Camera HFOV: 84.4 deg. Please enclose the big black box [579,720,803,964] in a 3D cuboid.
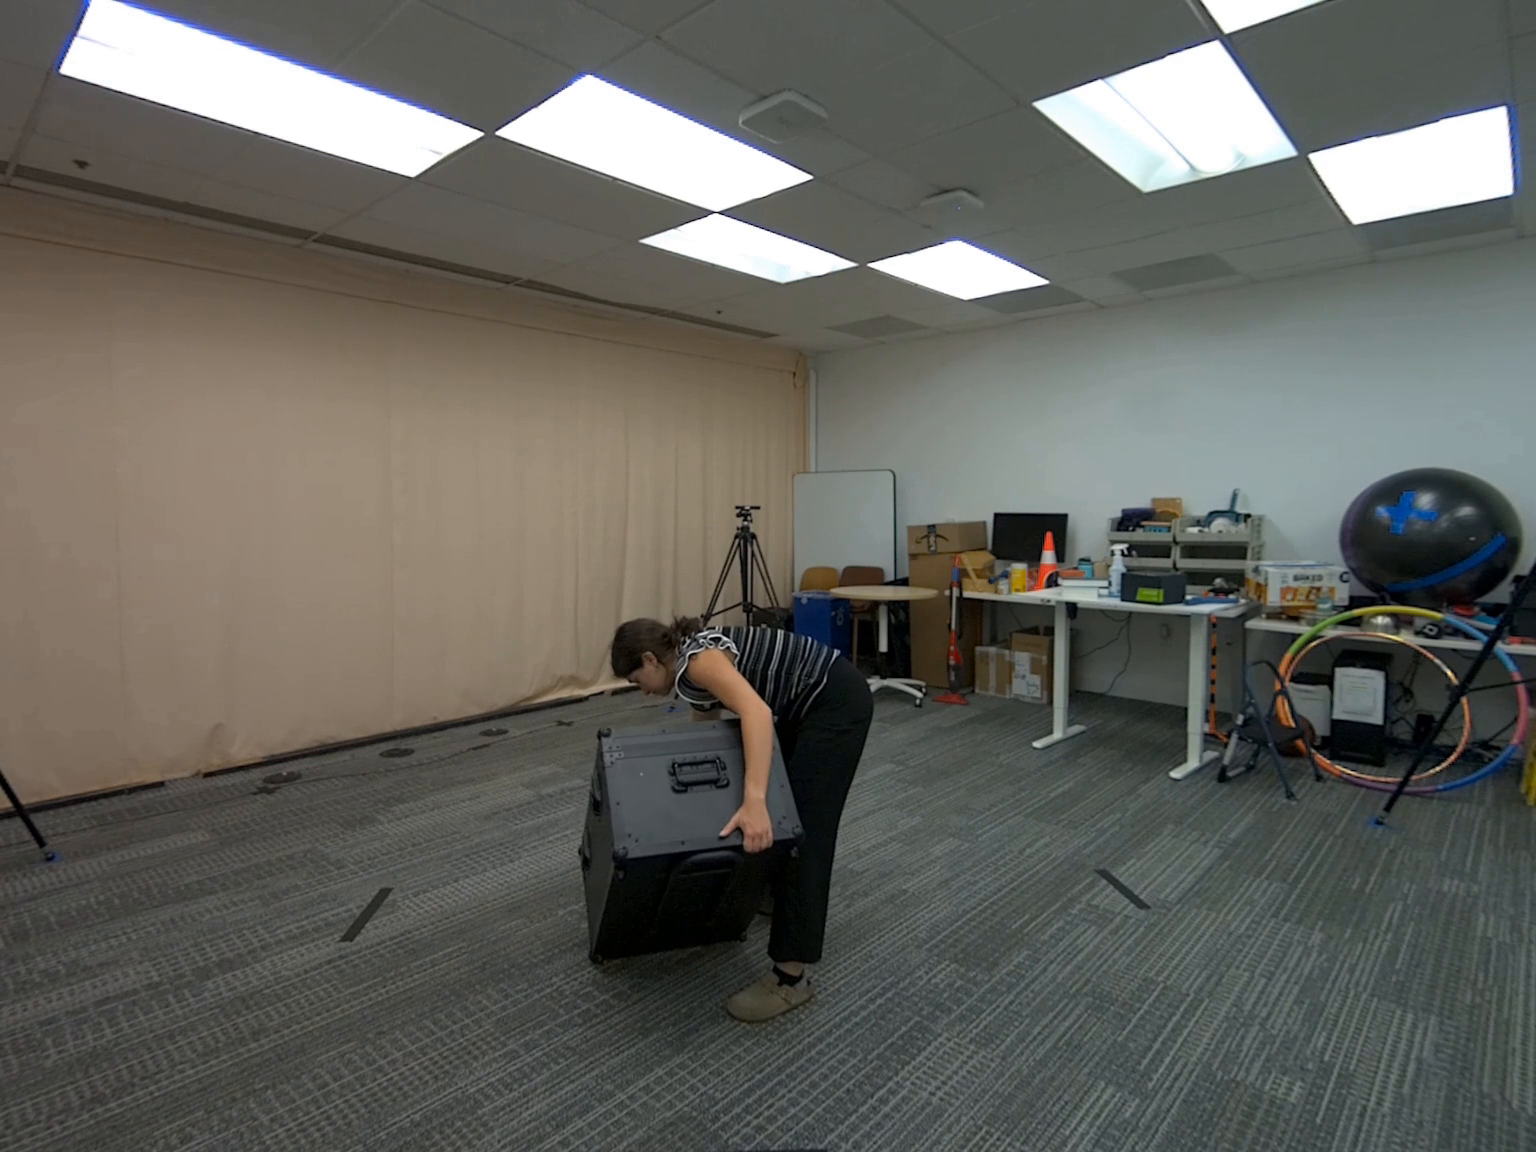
[{"bbox_3d":[-0.274,0.812,2.459,0.512,0.406,0.854,0,-40,-17],"label":"big black box"}]
